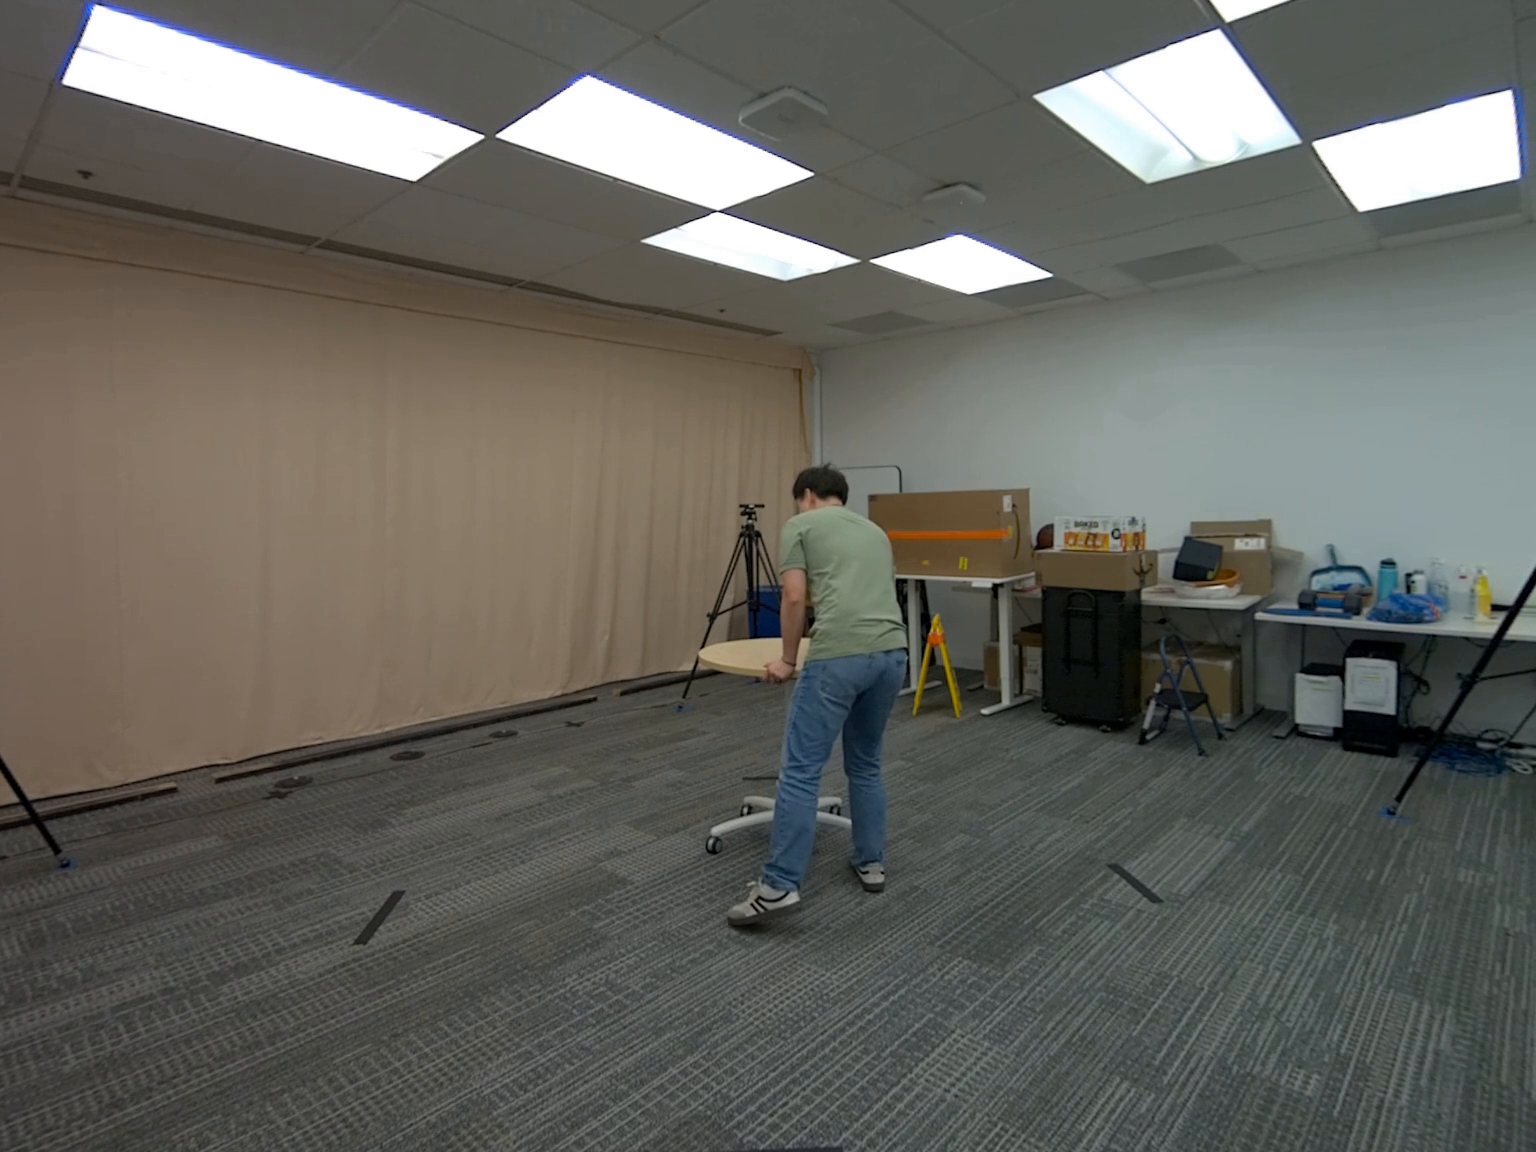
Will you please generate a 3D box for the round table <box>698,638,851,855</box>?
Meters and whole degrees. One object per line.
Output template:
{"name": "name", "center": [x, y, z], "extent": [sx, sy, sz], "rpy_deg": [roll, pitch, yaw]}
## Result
{"name": "round table", "center": [0.104, 0.709, 3.459], "extent": [0.763, 0.792, 0.766], "rpy_deg": [0, 4, -2]}
